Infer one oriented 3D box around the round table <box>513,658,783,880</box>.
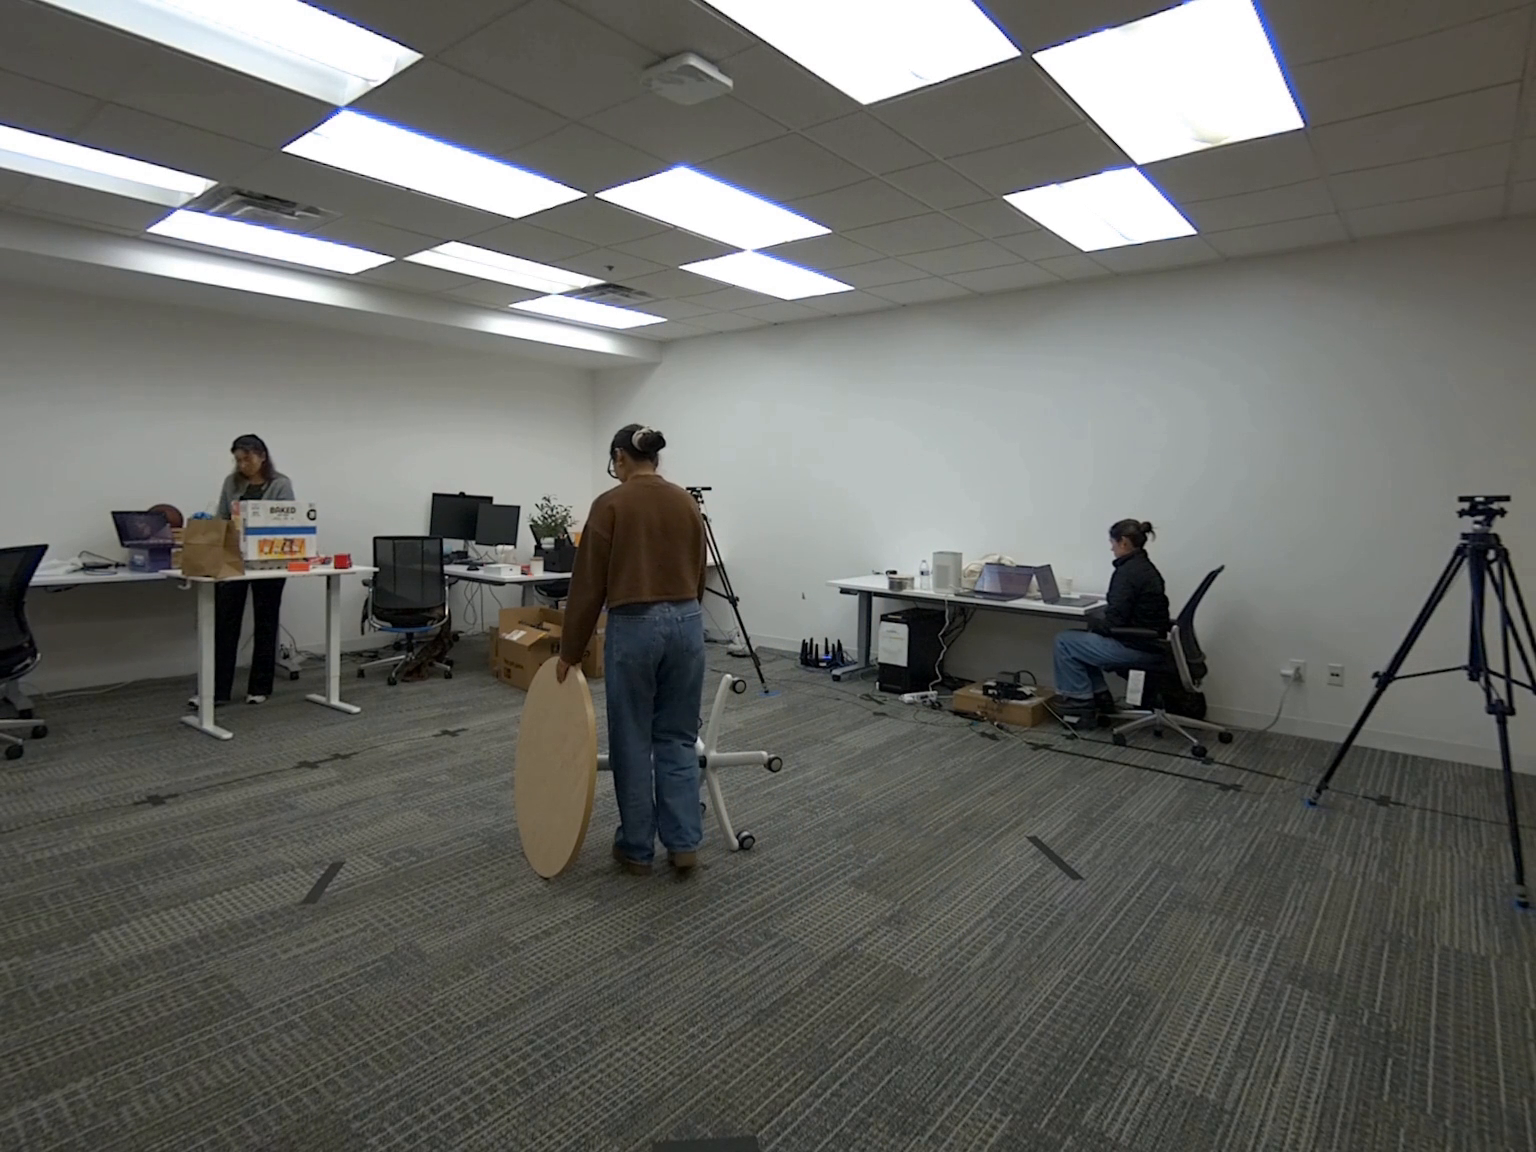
[{"bbox_3d":[-0.481,0.710,3.281,0.769,0.764,0.788,7,0,-32],"label":"round table"}]
